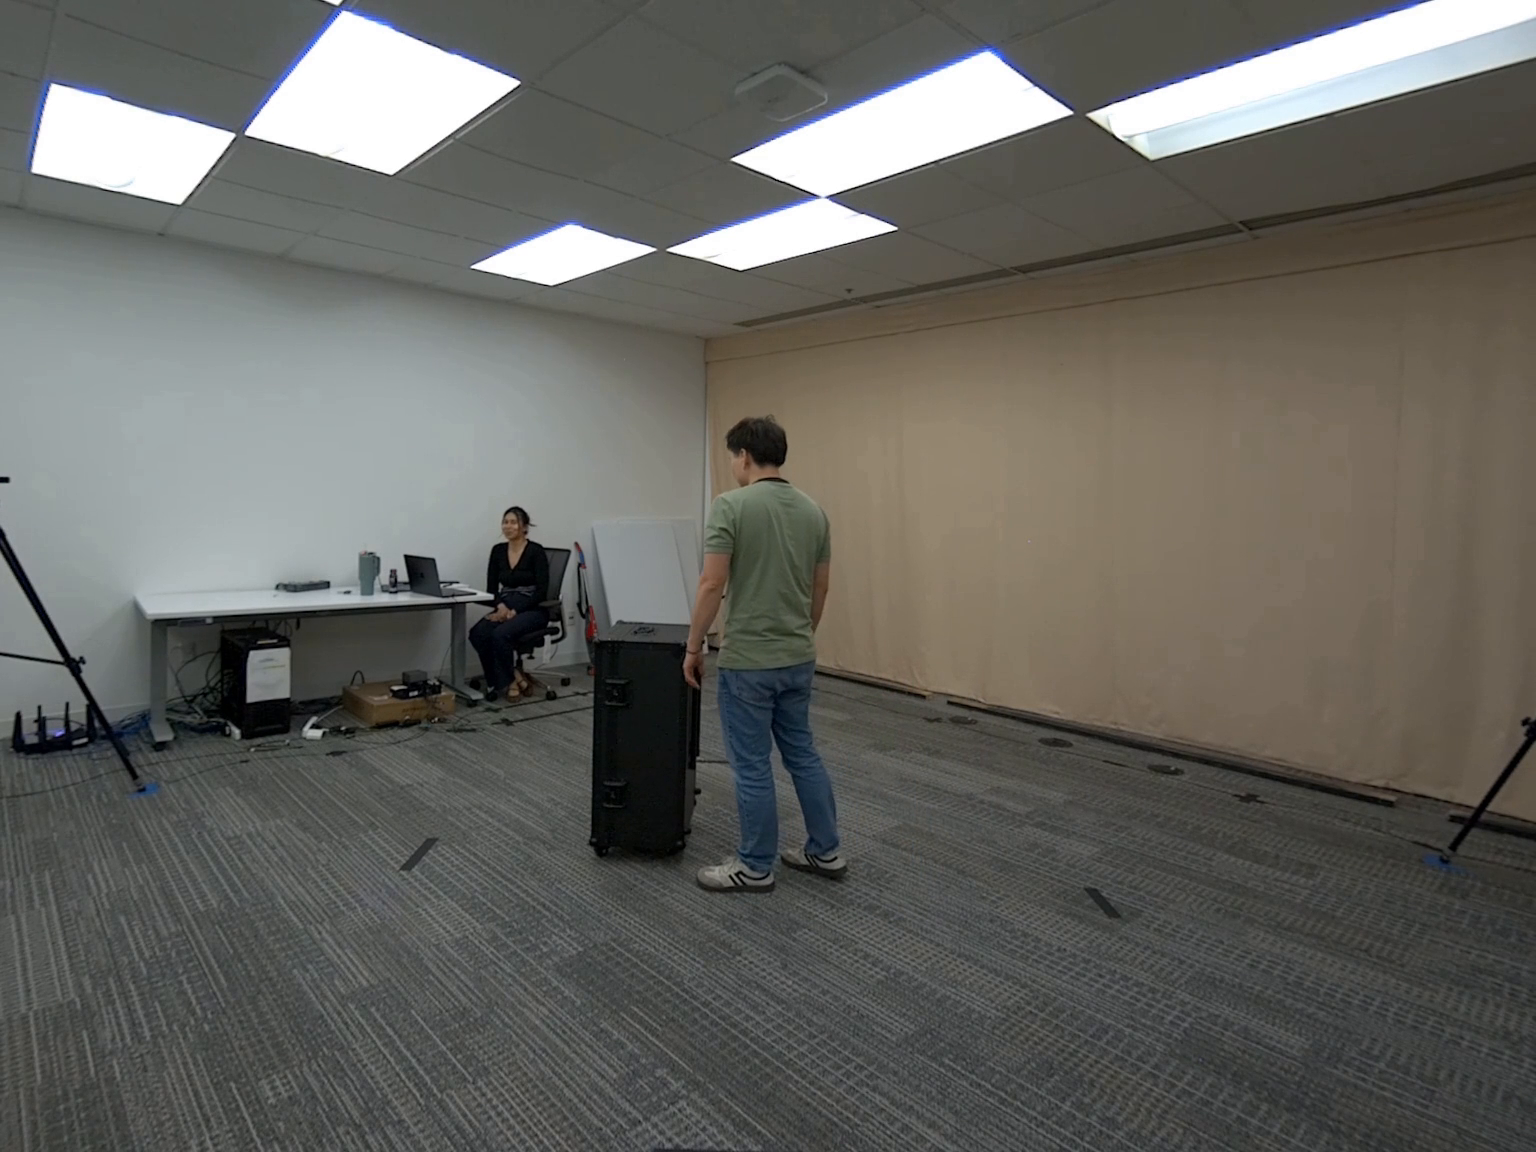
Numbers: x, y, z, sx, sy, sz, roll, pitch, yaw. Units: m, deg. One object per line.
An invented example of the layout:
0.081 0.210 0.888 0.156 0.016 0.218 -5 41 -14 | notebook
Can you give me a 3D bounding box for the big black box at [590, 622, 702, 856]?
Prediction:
-0.477 0.645 3.378 0.397 0.859 0.521 2 4 2 | big black box
